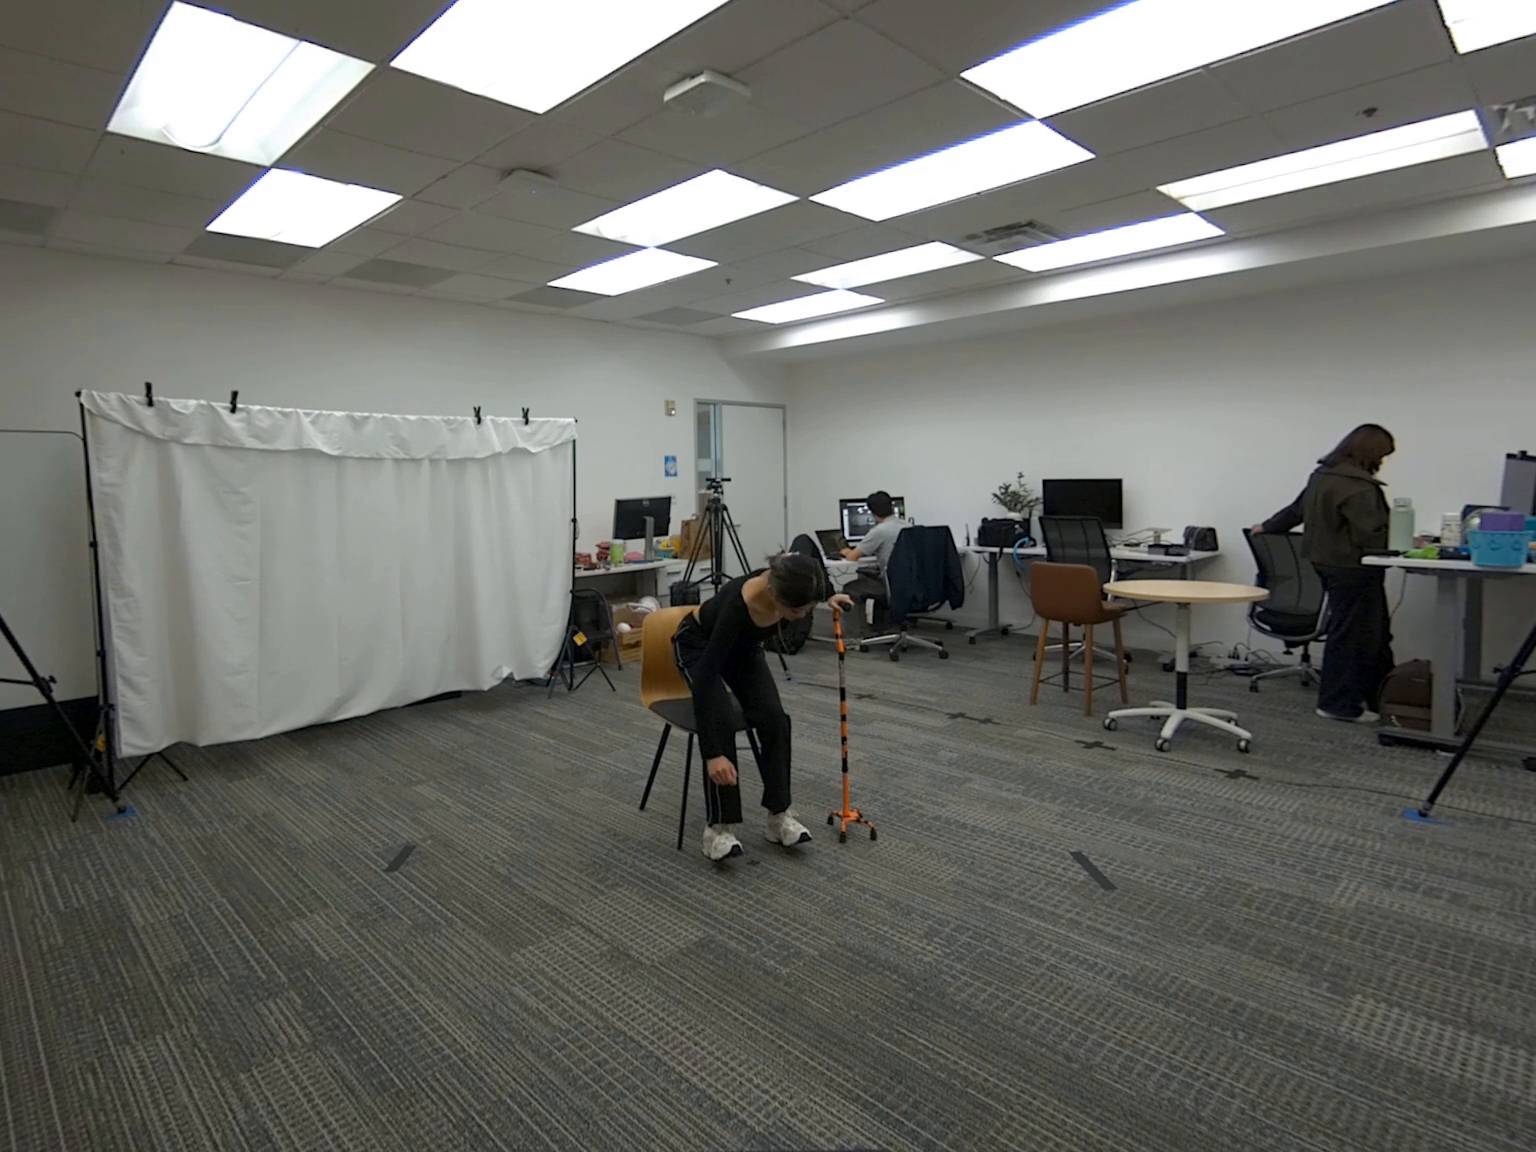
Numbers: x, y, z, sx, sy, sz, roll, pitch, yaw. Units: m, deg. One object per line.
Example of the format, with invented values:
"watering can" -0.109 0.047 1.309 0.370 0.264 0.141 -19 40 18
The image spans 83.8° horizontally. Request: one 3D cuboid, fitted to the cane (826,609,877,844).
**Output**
"cane" 0.313 0.550 3.356 0.150 0.906 0.208 -2 2 -9
